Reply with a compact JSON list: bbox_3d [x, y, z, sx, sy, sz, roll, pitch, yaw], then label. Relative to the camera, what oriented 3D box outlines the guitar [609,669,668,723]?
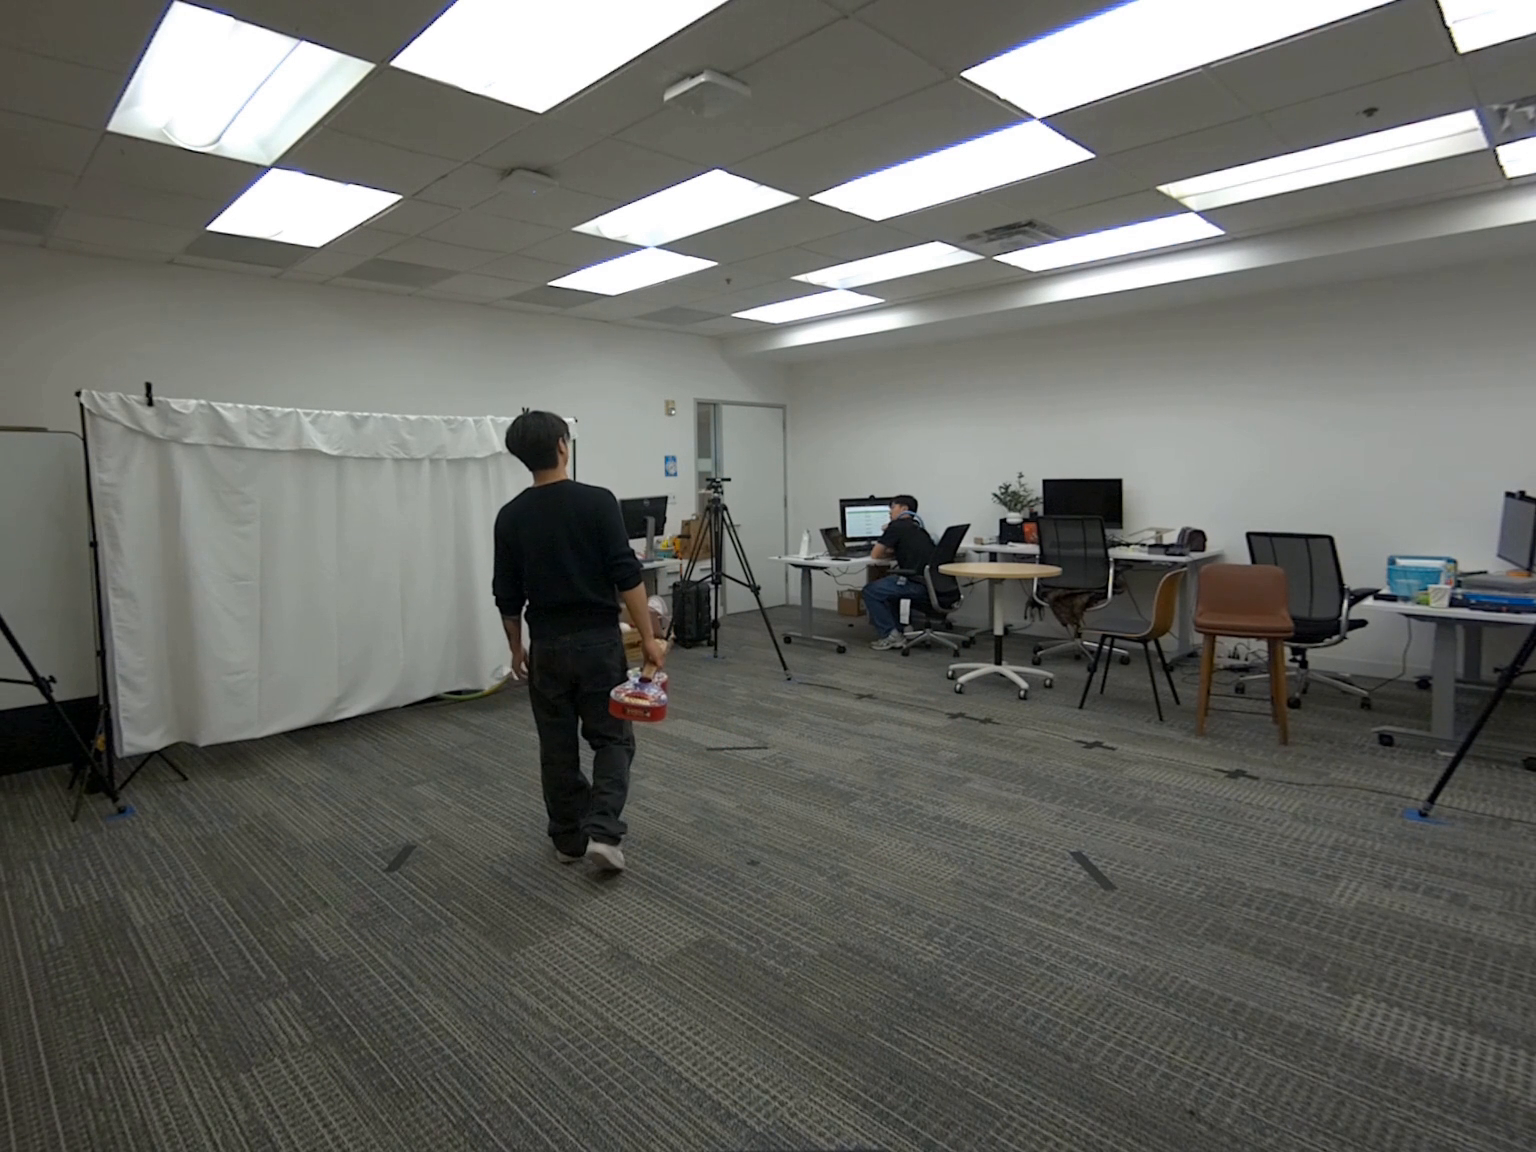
[{"bbox_3d":[-0.396,0.364,3.022,0.194,0.069,0.501,7,20,6],"label":"guitar"}]
